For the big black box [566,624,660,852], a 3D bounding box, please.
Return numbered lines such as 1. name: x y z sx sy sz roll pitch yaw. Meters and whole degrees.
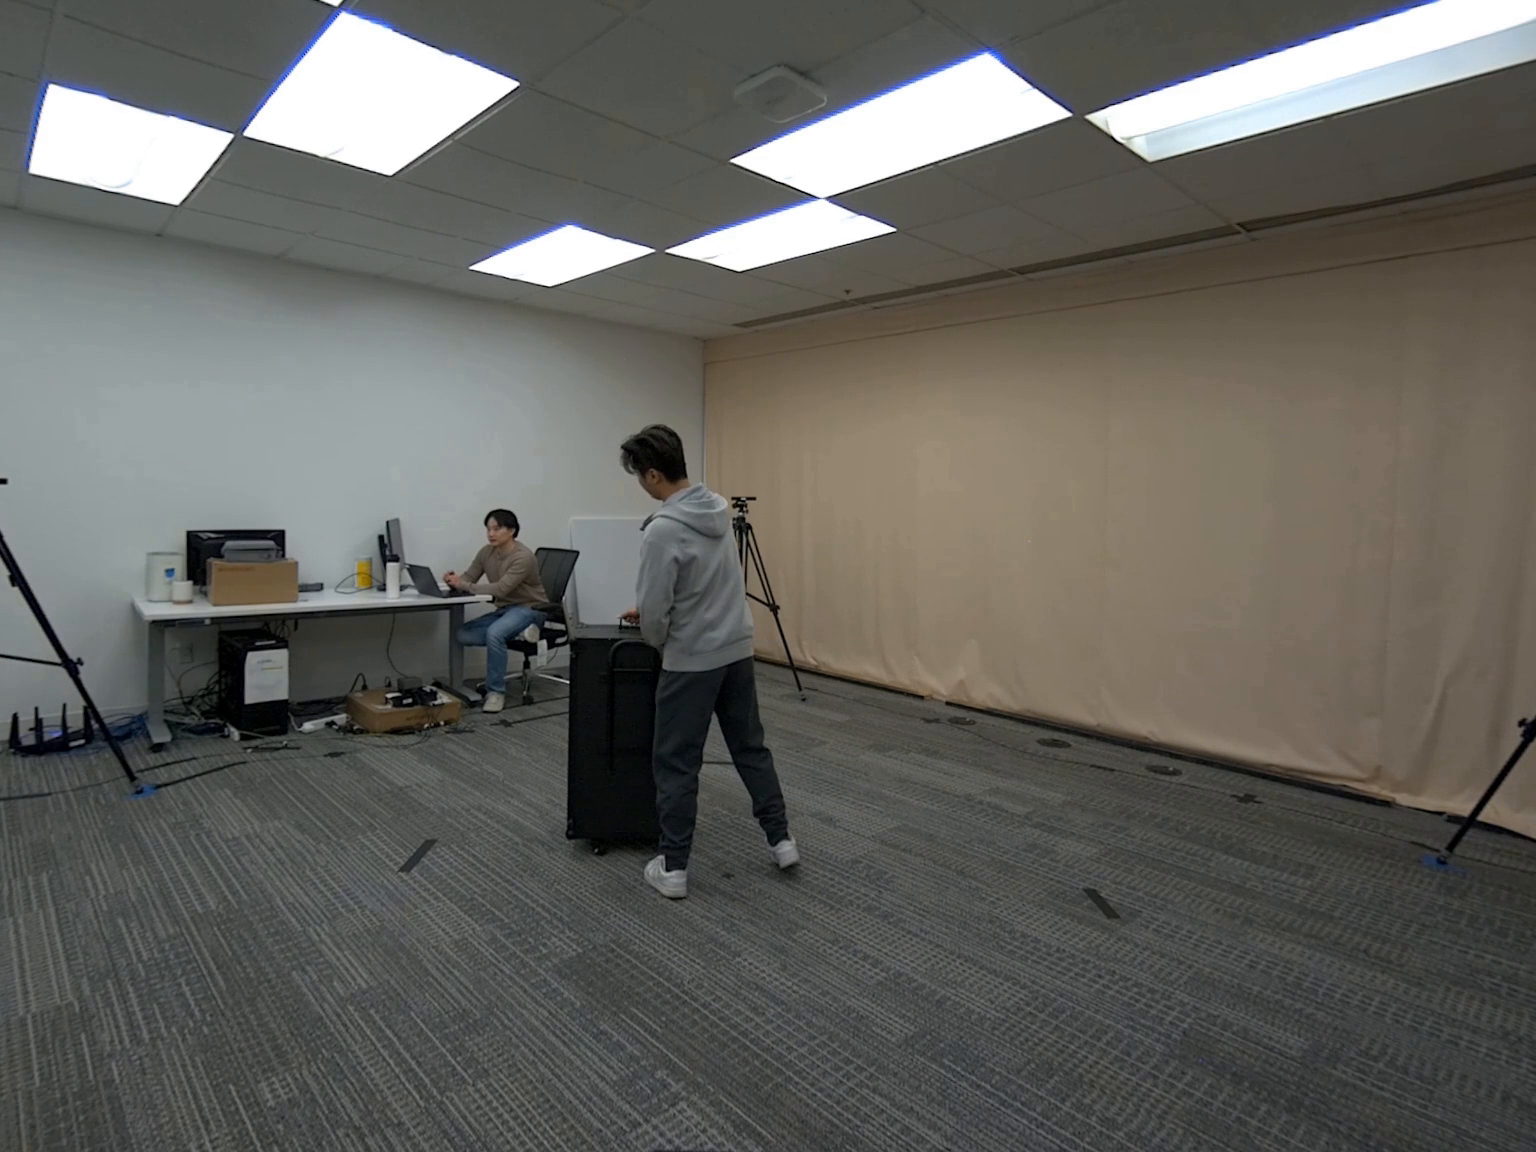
1. big black box: -0.553 0.646 3.400 0.518 0.859 0.399 2 3 -7
